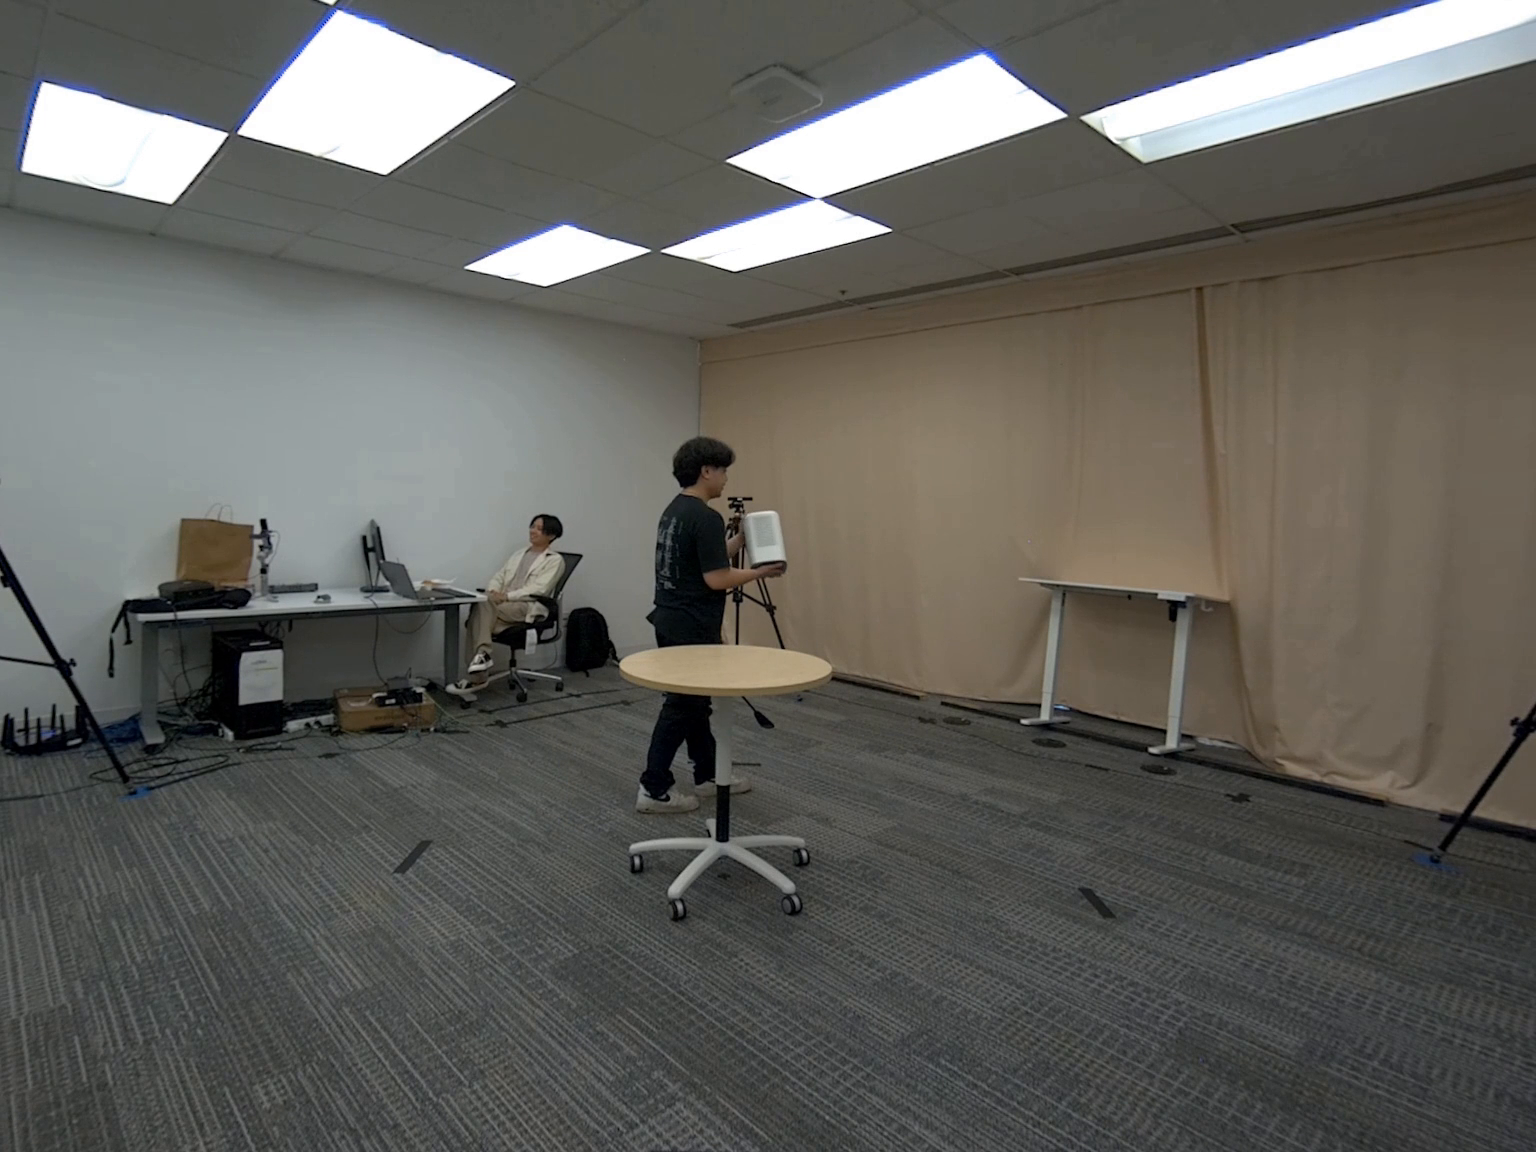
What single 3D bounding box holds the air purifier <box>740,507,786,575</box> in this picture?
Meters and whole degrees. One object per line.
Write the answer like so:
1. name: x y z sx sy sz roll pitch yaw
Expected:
1. air purifier: -0.026 -0.153 3.906 0.171 0.270 0.168 -7 -24 -2
